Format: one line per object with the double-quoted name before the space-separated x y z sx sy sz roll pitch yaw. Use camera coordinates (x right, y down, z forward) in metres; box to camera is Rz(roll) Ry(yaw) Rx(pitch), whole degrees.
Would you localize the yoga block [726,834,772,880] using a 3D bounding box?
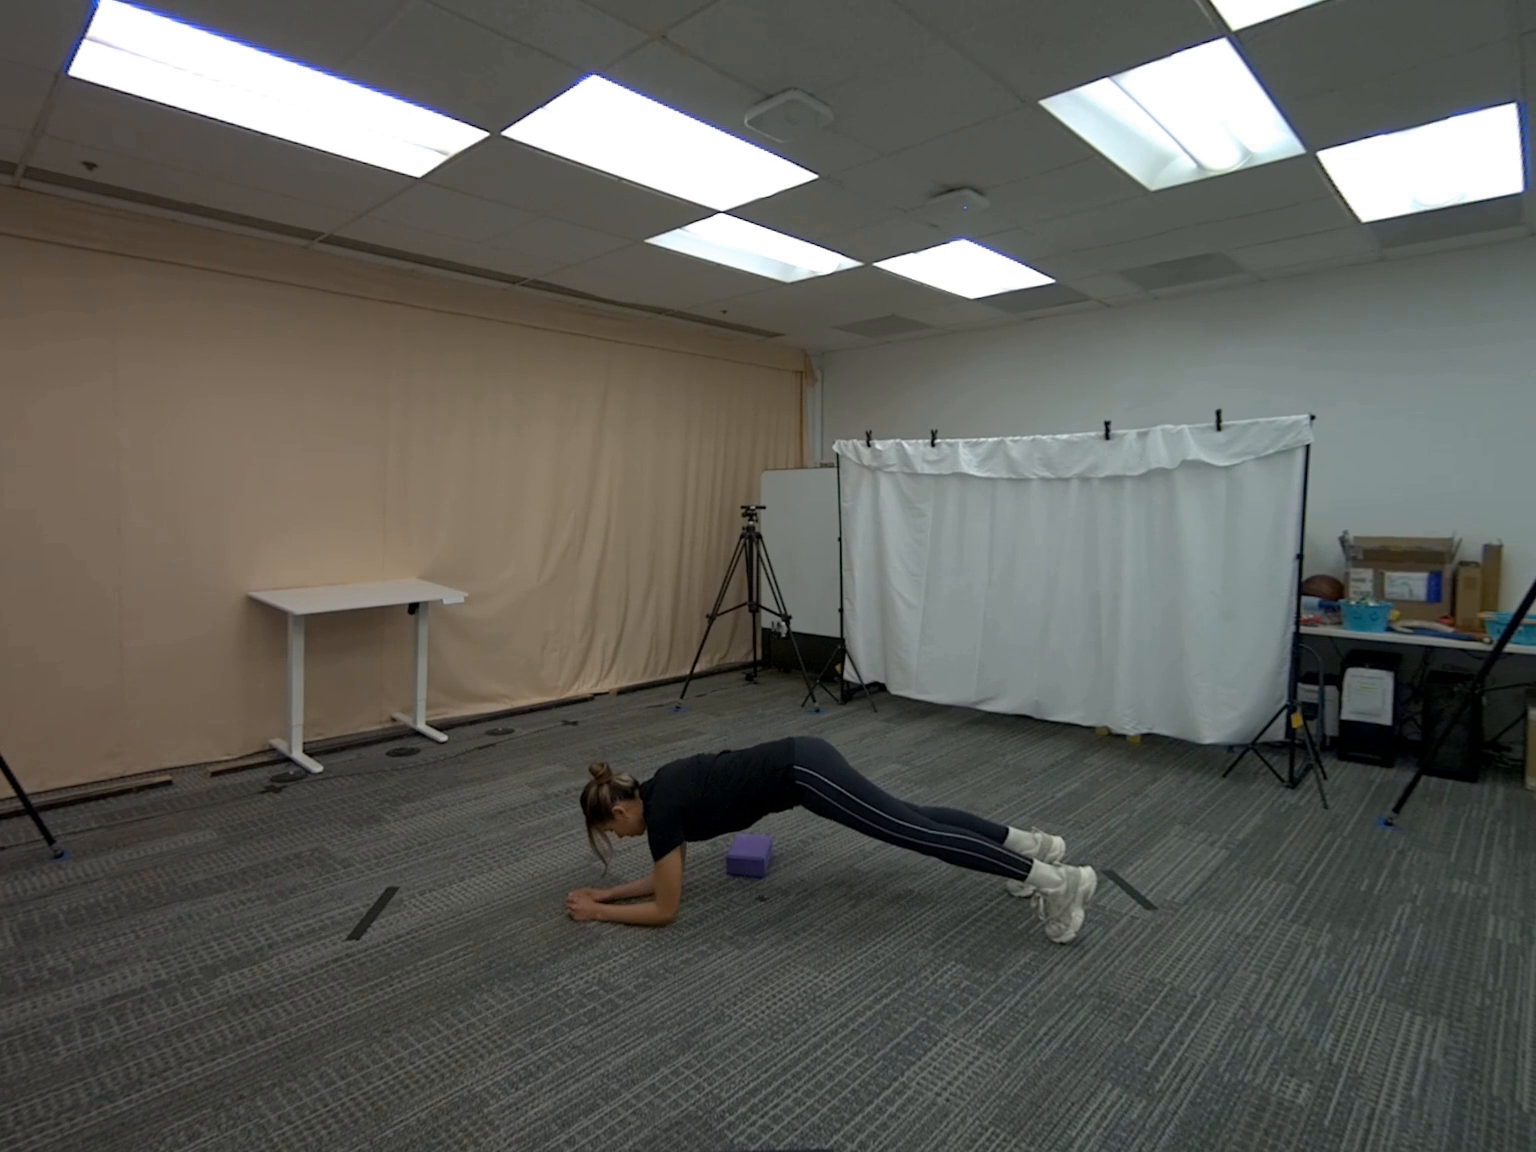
"yoga block" -0.068 1.077 3.264 0.151 0.076 0.227 2 5 9
